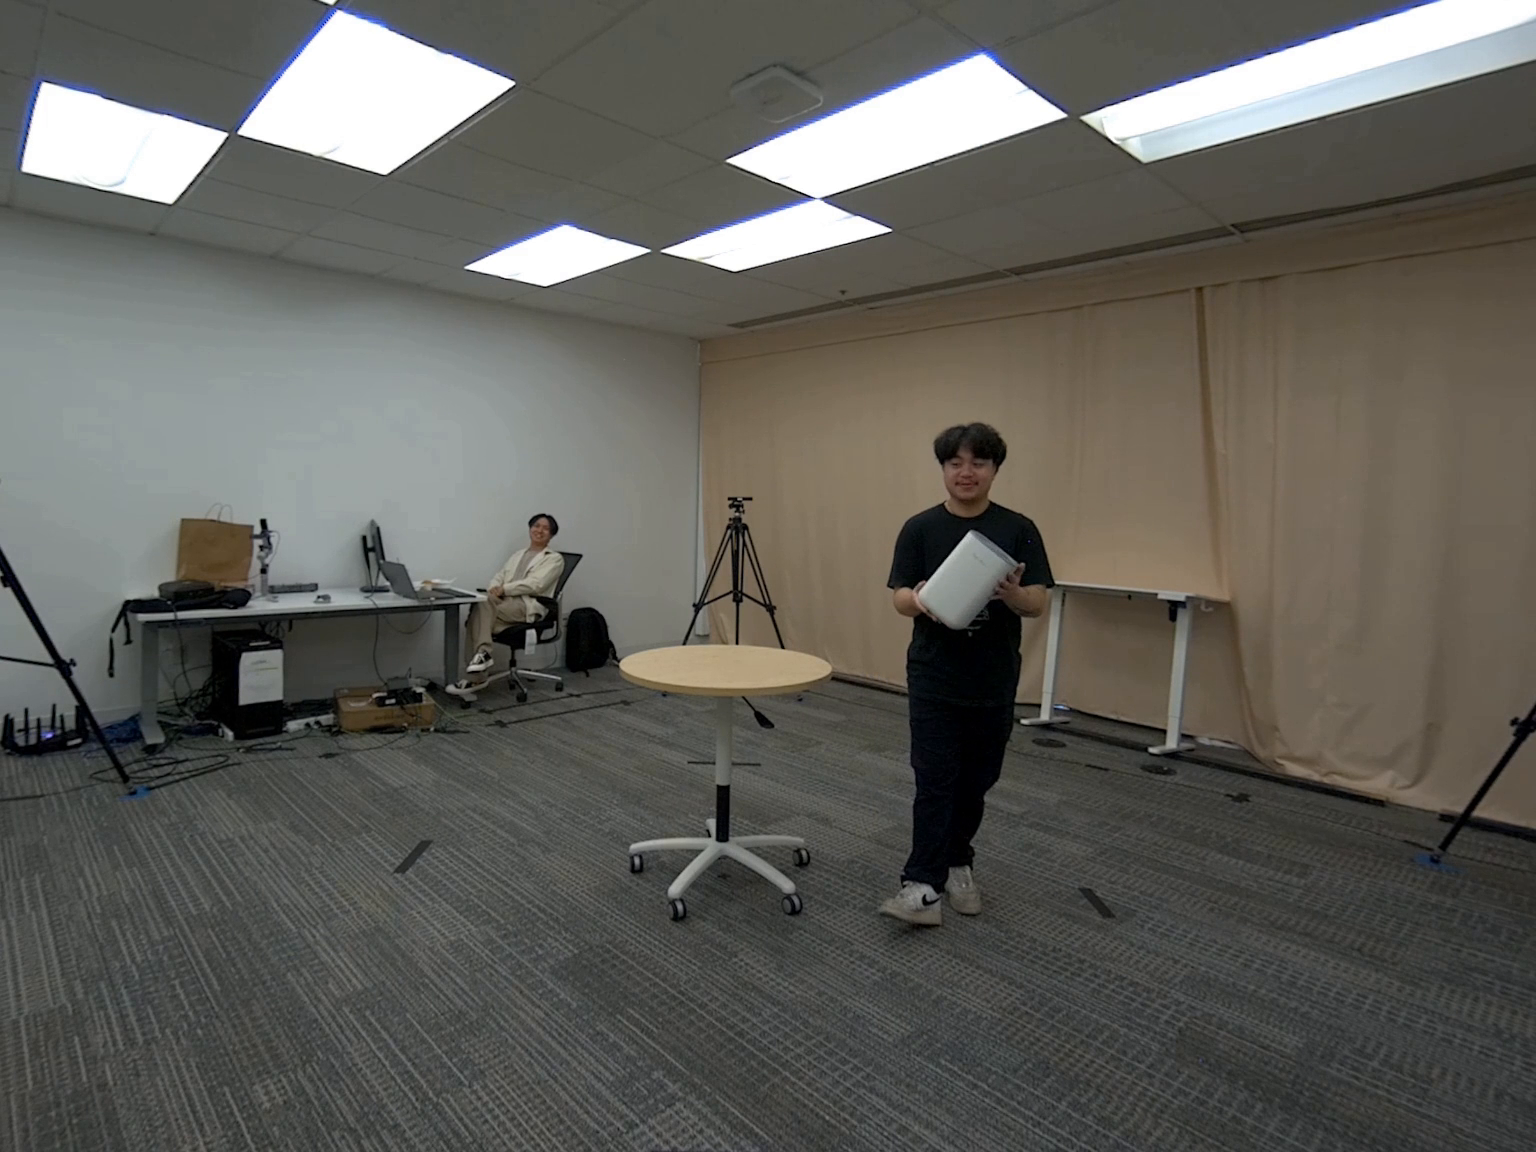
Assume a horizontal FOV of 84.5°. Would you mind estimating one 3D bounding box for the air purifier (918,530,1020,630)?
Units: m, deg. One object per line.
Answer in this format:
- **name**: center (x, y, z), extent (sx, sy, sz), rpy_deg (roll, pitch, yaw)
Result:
- **air purifier**: center (0.586, 0.017, 2.549), extent (0.174, 0.265, 0.169), rpy_deg (41, 16, 16)
